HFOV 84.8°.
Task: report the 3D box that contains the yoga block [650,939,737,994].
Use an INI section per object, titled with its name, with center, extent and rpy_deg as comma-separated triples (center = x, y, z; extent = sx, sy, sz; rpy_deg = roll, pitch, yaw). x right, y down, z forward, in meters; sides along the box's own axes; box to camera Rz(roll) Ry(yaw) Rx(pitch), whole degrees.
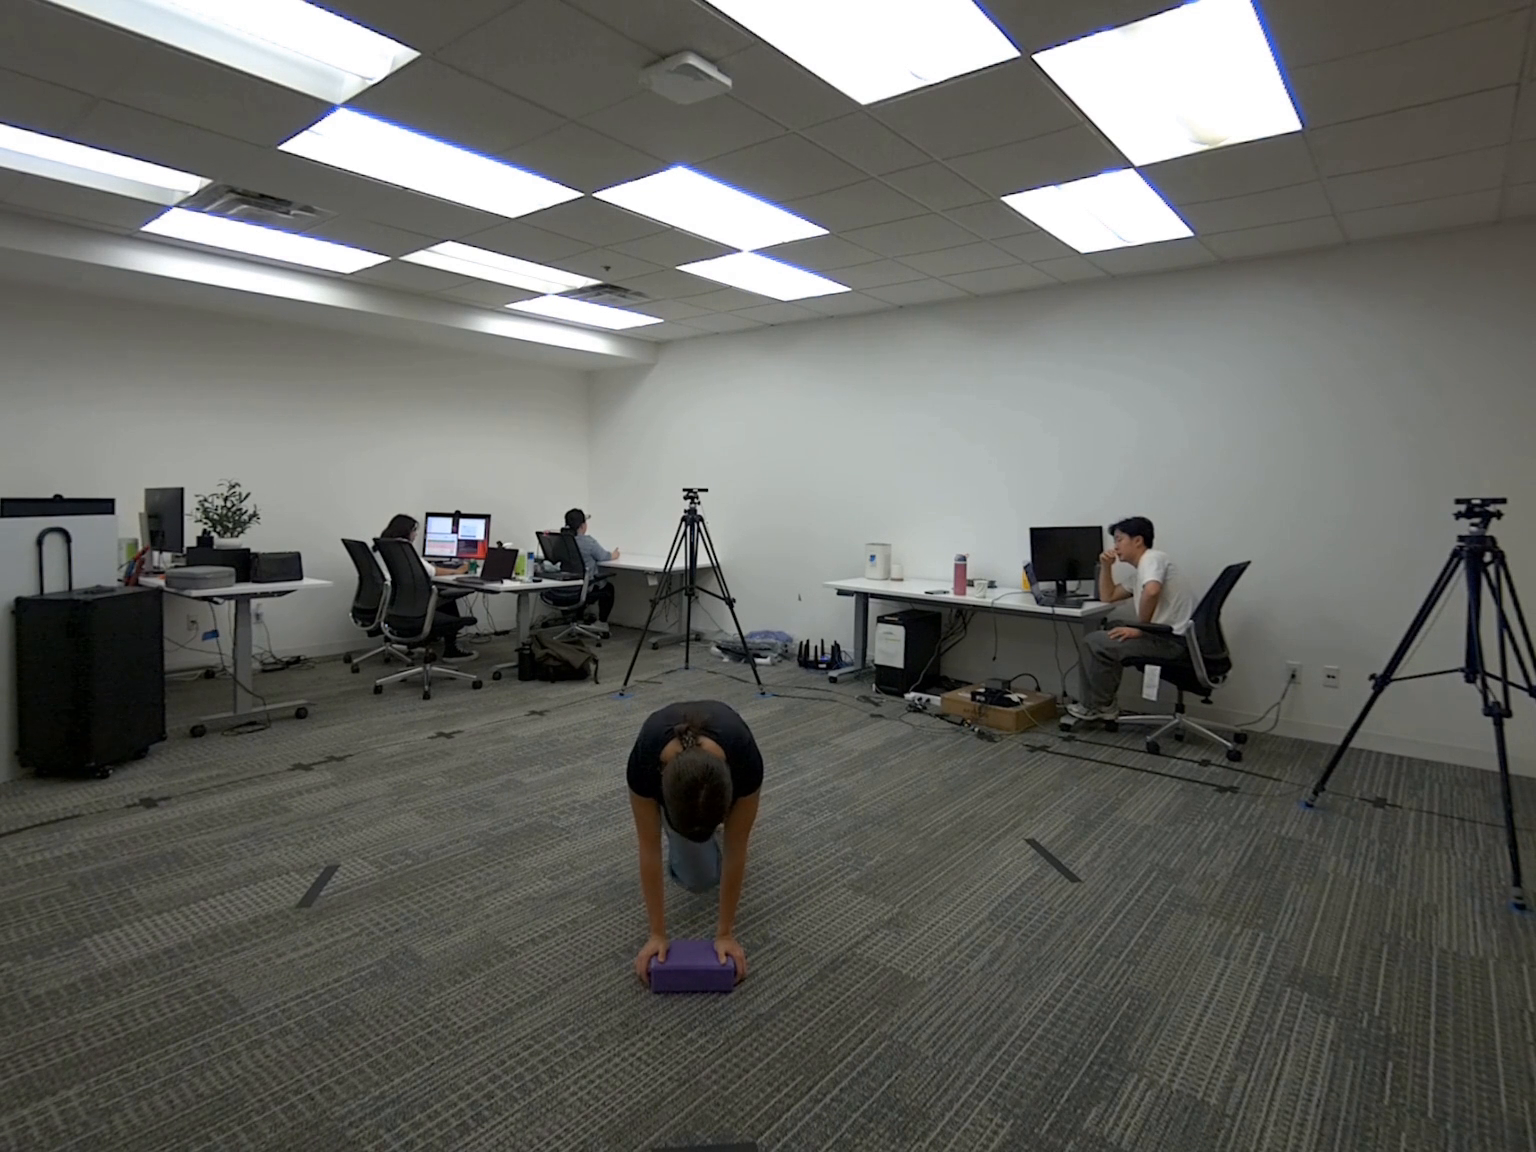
[yoga block]
center = -0.218, 1.098, 2.409
extent = 0.228, 0.076, 0.150
rpy_deg = 2, 4, -4
